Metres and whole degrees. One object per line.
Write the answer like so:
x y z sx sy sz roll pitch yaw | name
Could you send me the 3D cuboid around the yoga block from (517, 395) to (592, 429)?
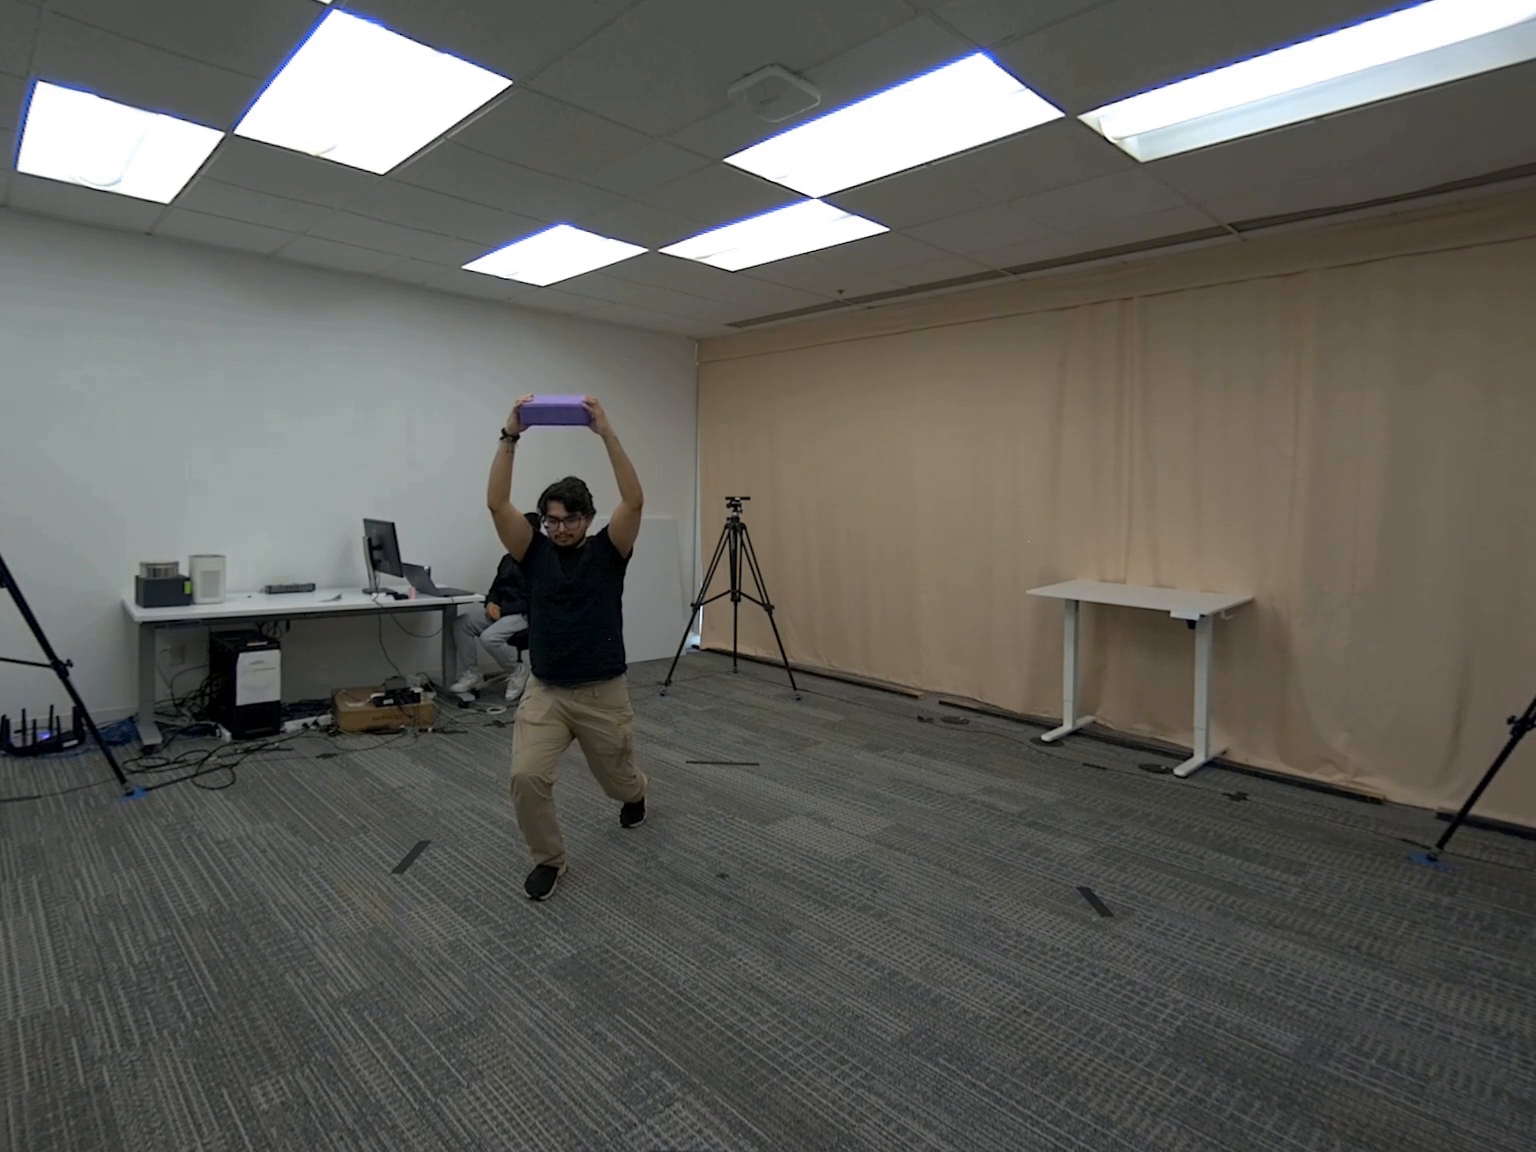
-0.727 -0.573 2.897 0.230 0.075 0.151 0 24 3 | yoga block
